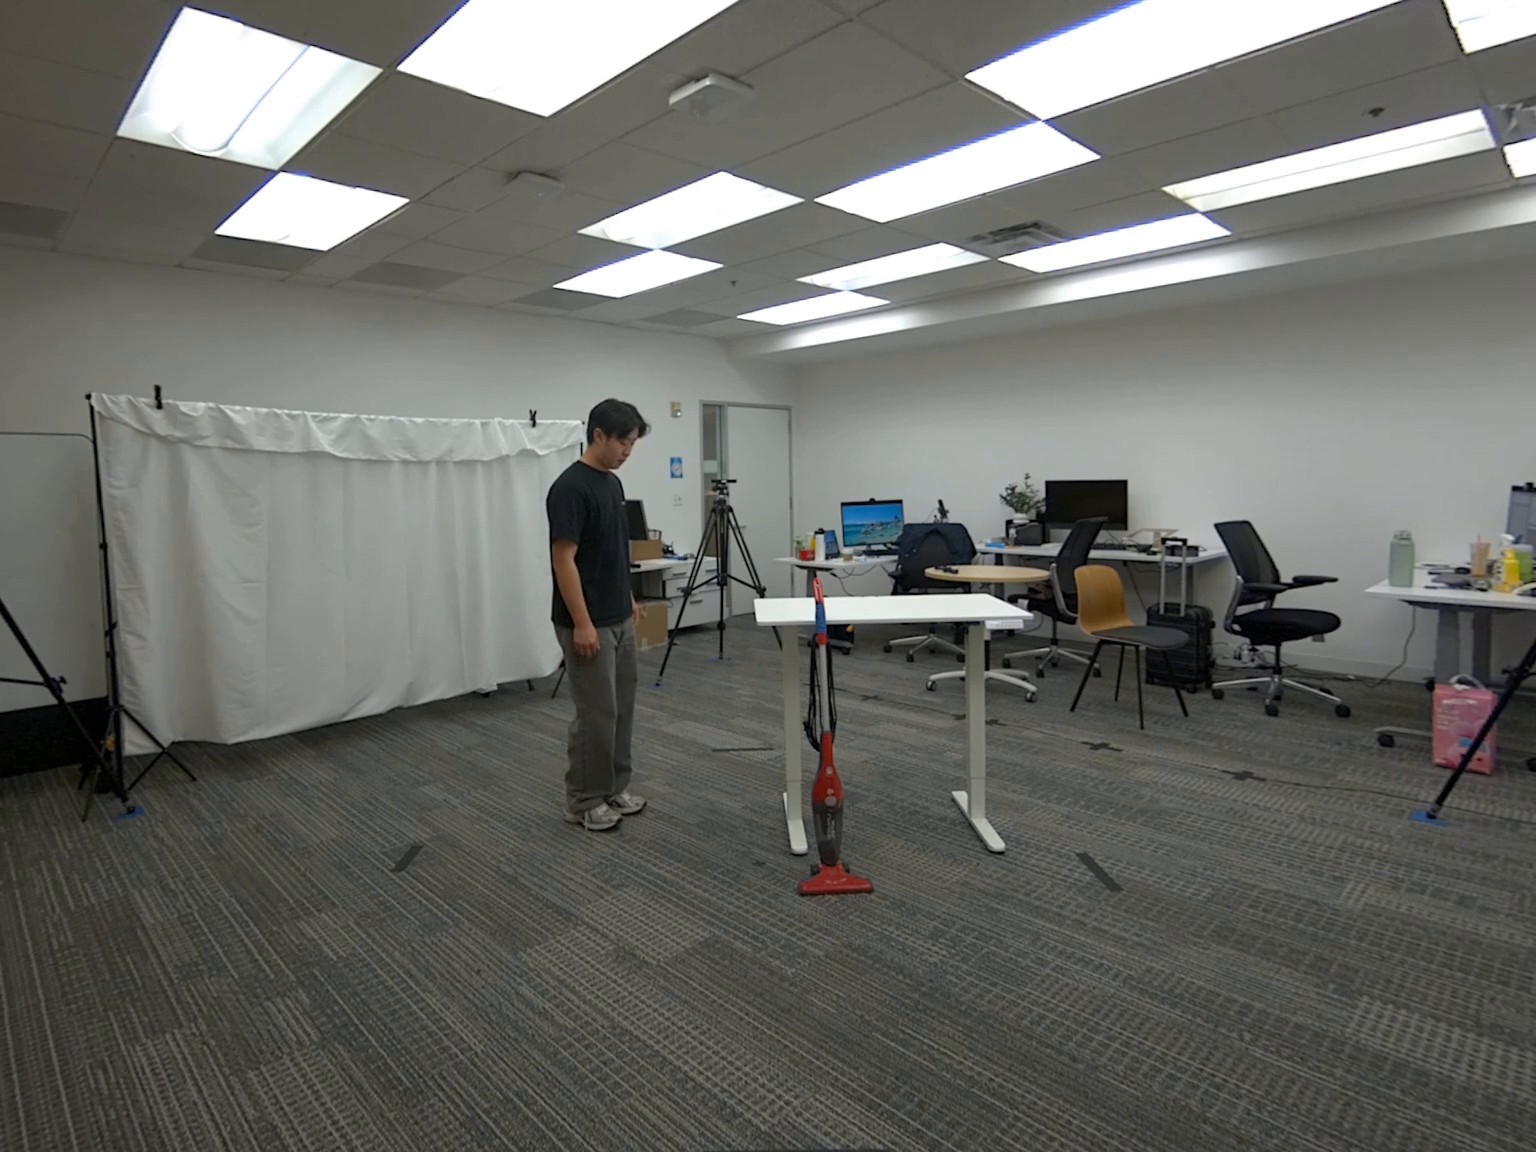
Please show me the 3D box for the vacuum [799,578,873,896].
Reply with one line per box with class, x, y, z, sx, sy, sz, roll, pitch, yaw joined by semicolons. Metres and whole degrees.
vacuum;0.202;0.543;3.030;0.251;1.060;0.143;-2;-10;-6
